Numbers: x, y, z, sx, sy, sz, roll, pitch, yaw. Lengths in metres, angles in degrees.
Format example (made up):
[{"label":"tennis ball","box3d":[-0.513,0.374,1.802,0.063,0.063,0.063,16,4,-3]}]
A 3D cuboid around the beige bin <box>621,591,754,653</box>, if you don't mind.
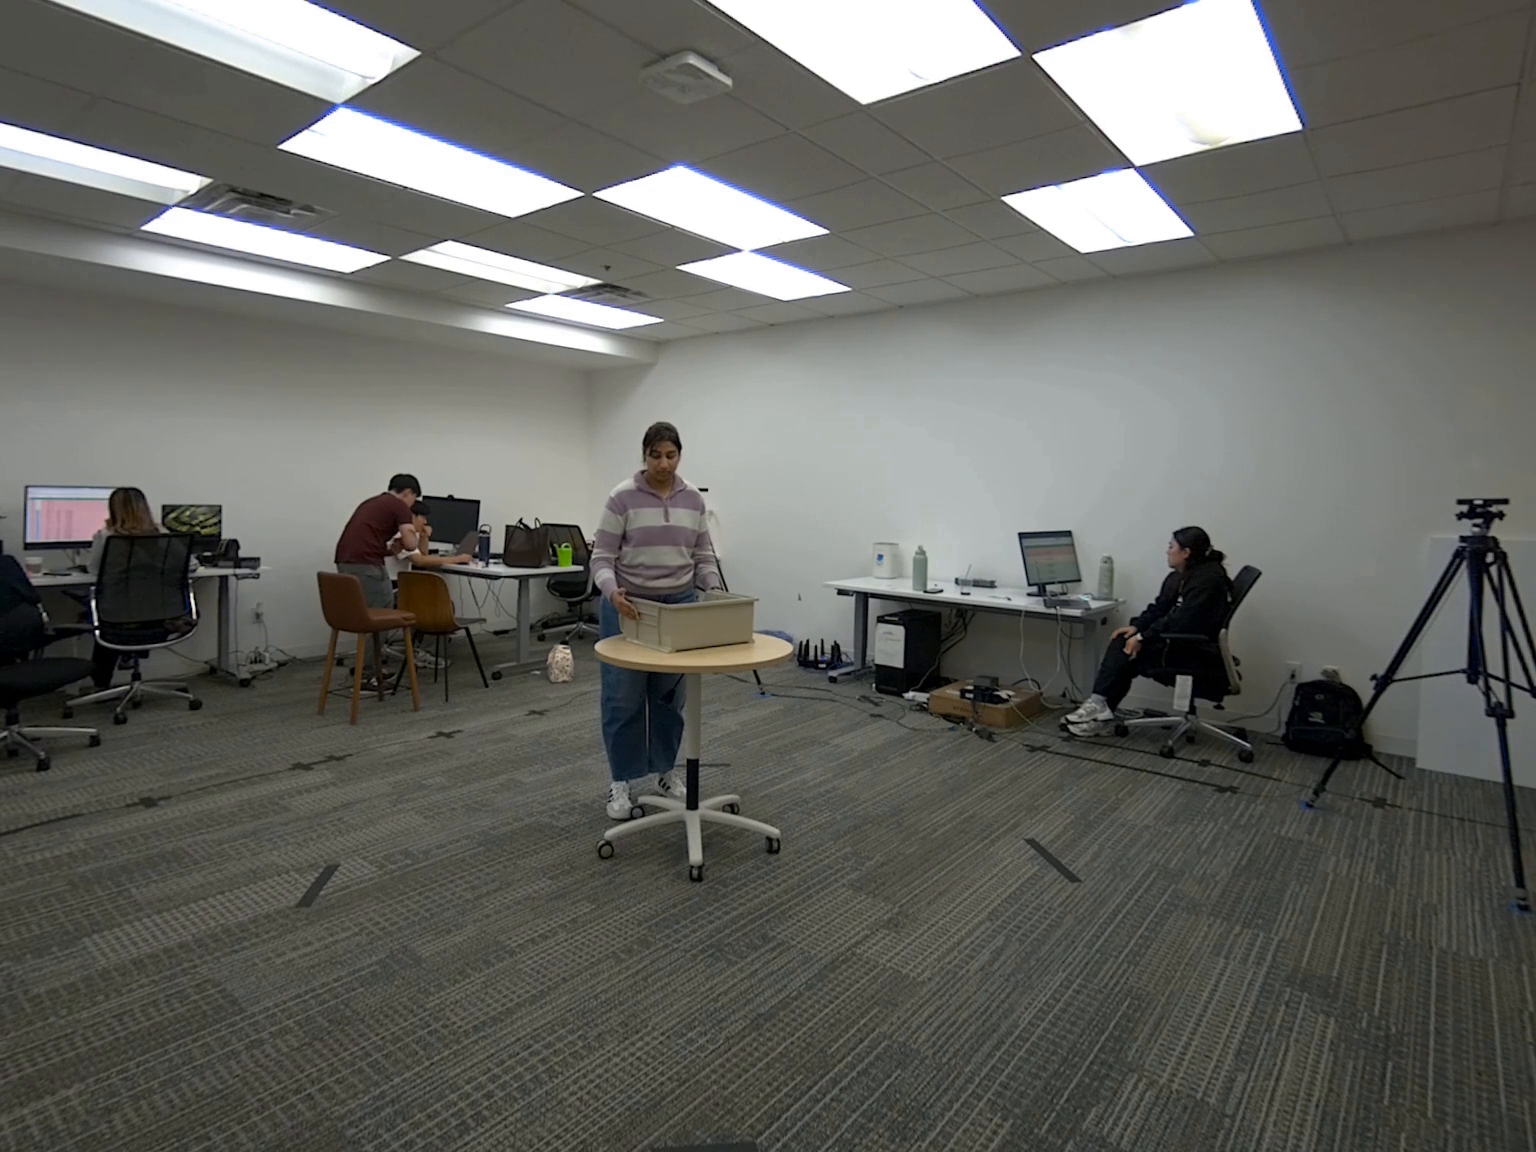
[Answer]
[{"label":"beige bin","box3d":[-0.330,0.164,3.388,0.410,0.188,0.390,-2,7,-37]}]
